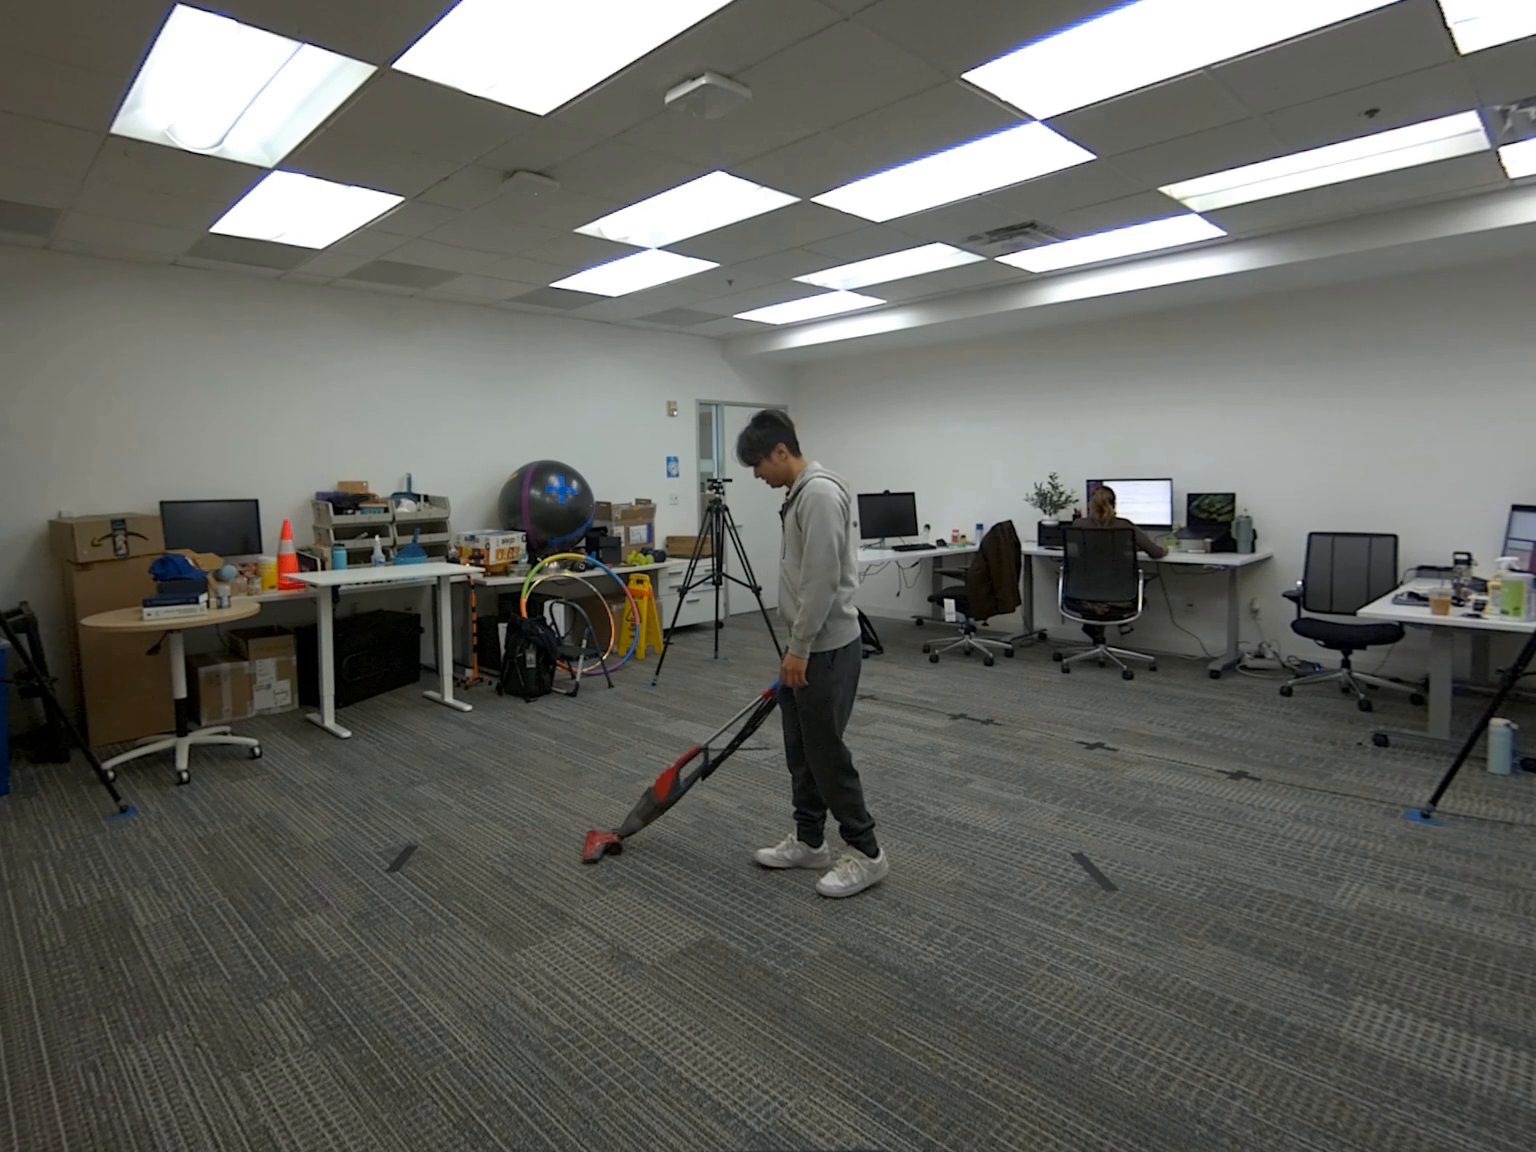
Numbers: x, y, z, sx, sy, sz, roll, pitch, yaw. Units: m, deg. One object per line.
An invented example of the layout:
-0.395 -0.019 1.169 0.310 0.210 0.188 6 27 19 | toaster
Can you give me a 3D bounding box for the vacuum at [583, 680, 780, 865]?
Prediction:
-0.221 0.684 3.260 1.049 0.142 0.255 -40 9 -1 | vacuum
